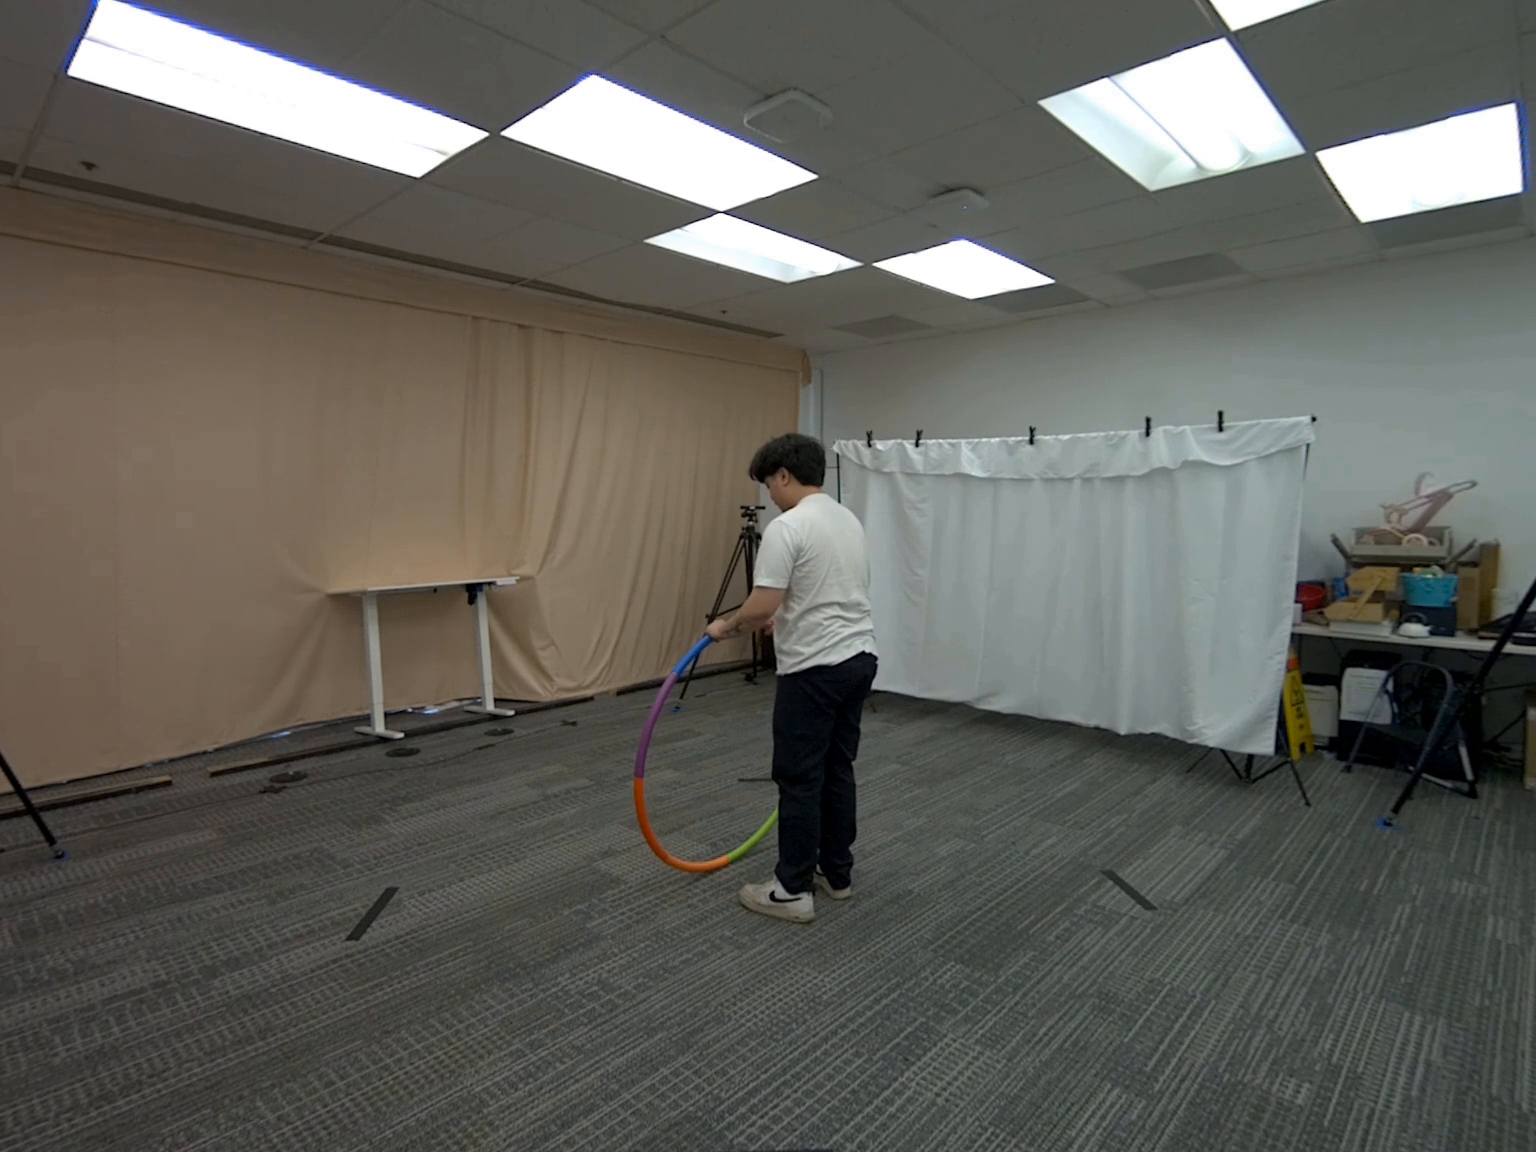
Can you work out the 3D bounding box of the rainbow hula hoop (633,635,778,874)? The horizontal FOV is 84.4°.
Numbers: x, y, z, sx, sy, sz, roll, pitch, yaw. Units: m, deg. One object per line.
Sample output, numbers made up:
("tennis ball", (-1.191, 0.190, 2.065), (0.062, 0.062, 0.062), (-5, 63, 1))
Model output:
("rainbow hula hoop", (-0.129, 0.644, 3.212), (0.053, 0.981, 0.955), (12, 11, 41))
